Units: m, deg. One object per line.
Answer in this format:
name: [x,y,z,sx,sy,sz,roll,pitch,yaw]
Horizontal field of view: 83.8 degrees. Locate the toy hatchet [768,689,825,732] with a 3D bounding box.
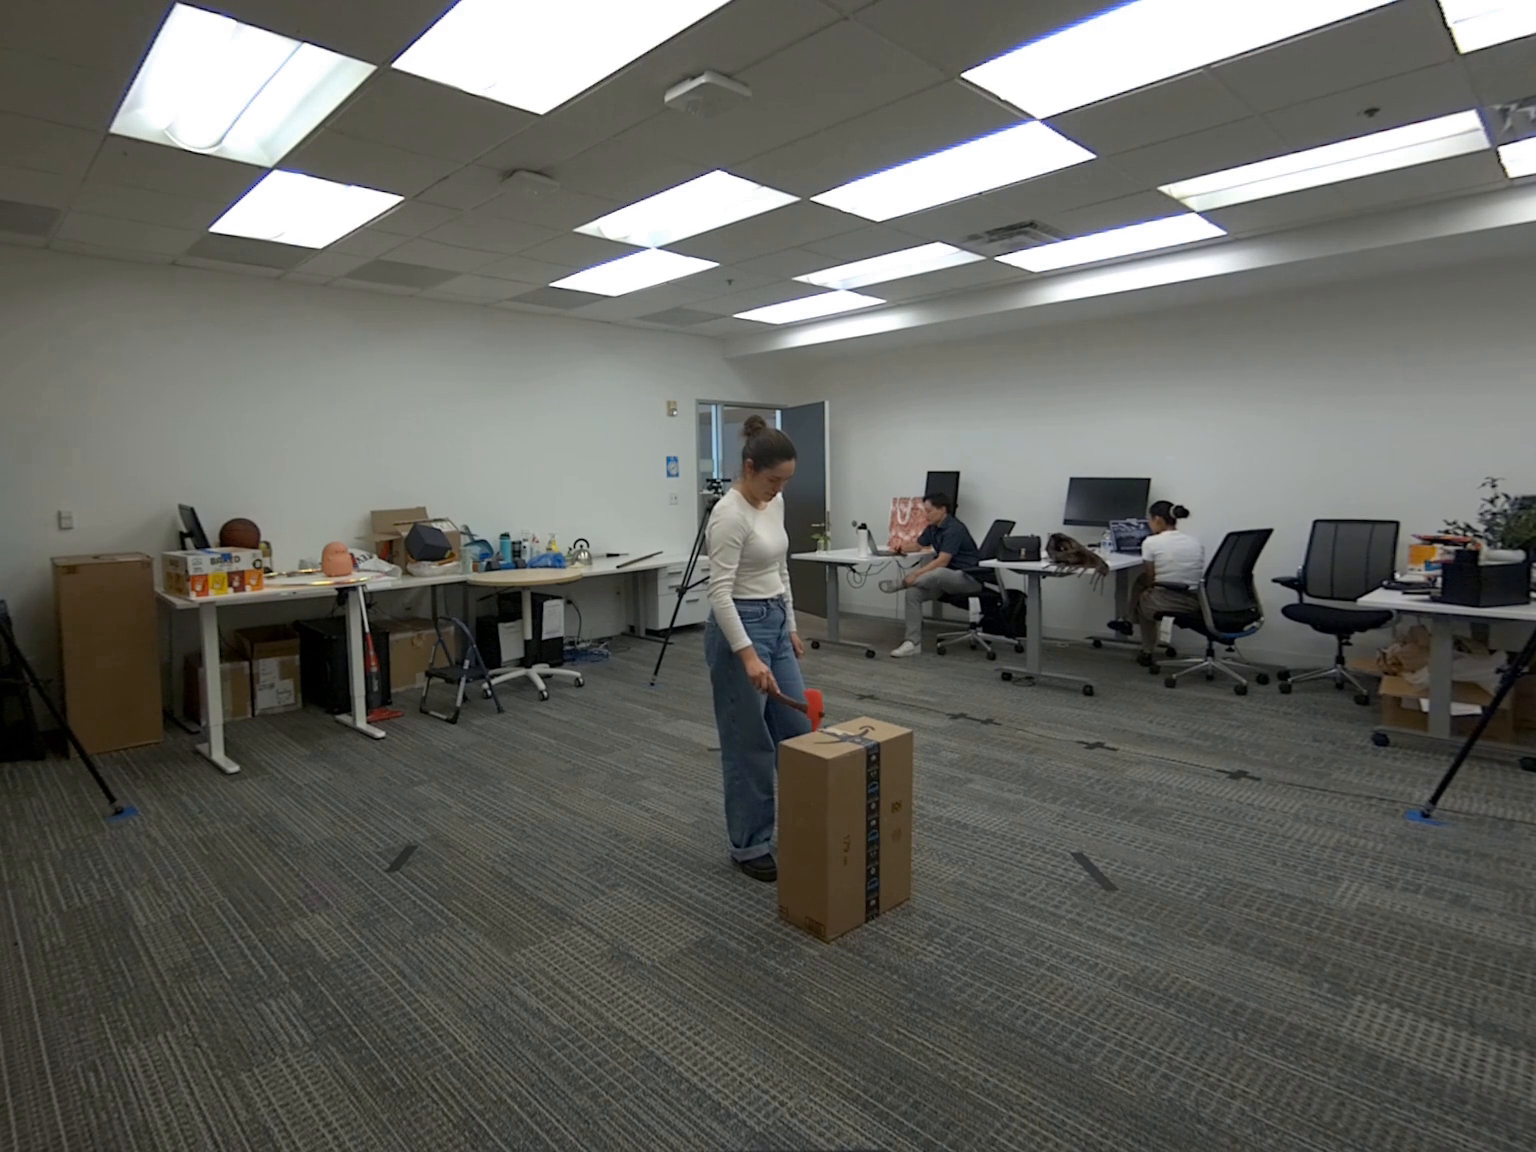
toy hatchet: [0.068,0.375,2.683,0.029,0.129,0.280,-7,37,-47]
